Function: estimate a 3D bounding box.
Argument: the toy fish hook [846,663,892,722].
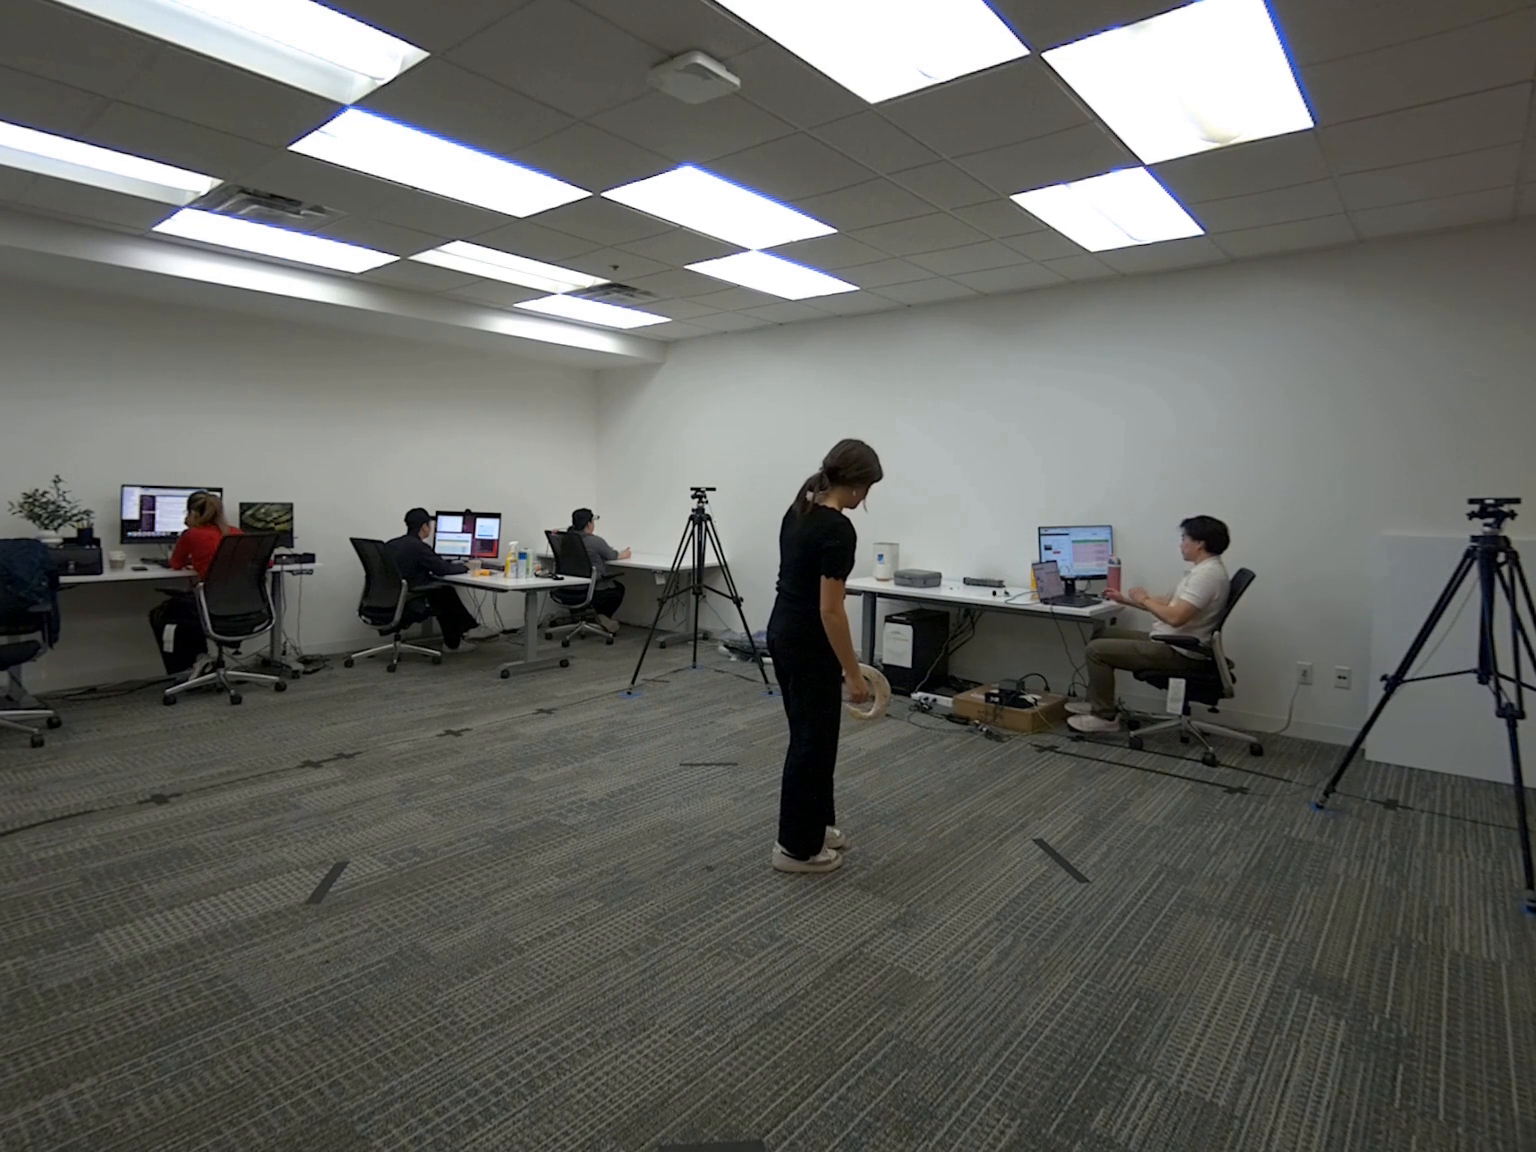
[{"bbox_3d":[0.293,0.418,3.381,0.493,0.227,0.049,31,-27,-20],"label":"toy fish hook"}]
